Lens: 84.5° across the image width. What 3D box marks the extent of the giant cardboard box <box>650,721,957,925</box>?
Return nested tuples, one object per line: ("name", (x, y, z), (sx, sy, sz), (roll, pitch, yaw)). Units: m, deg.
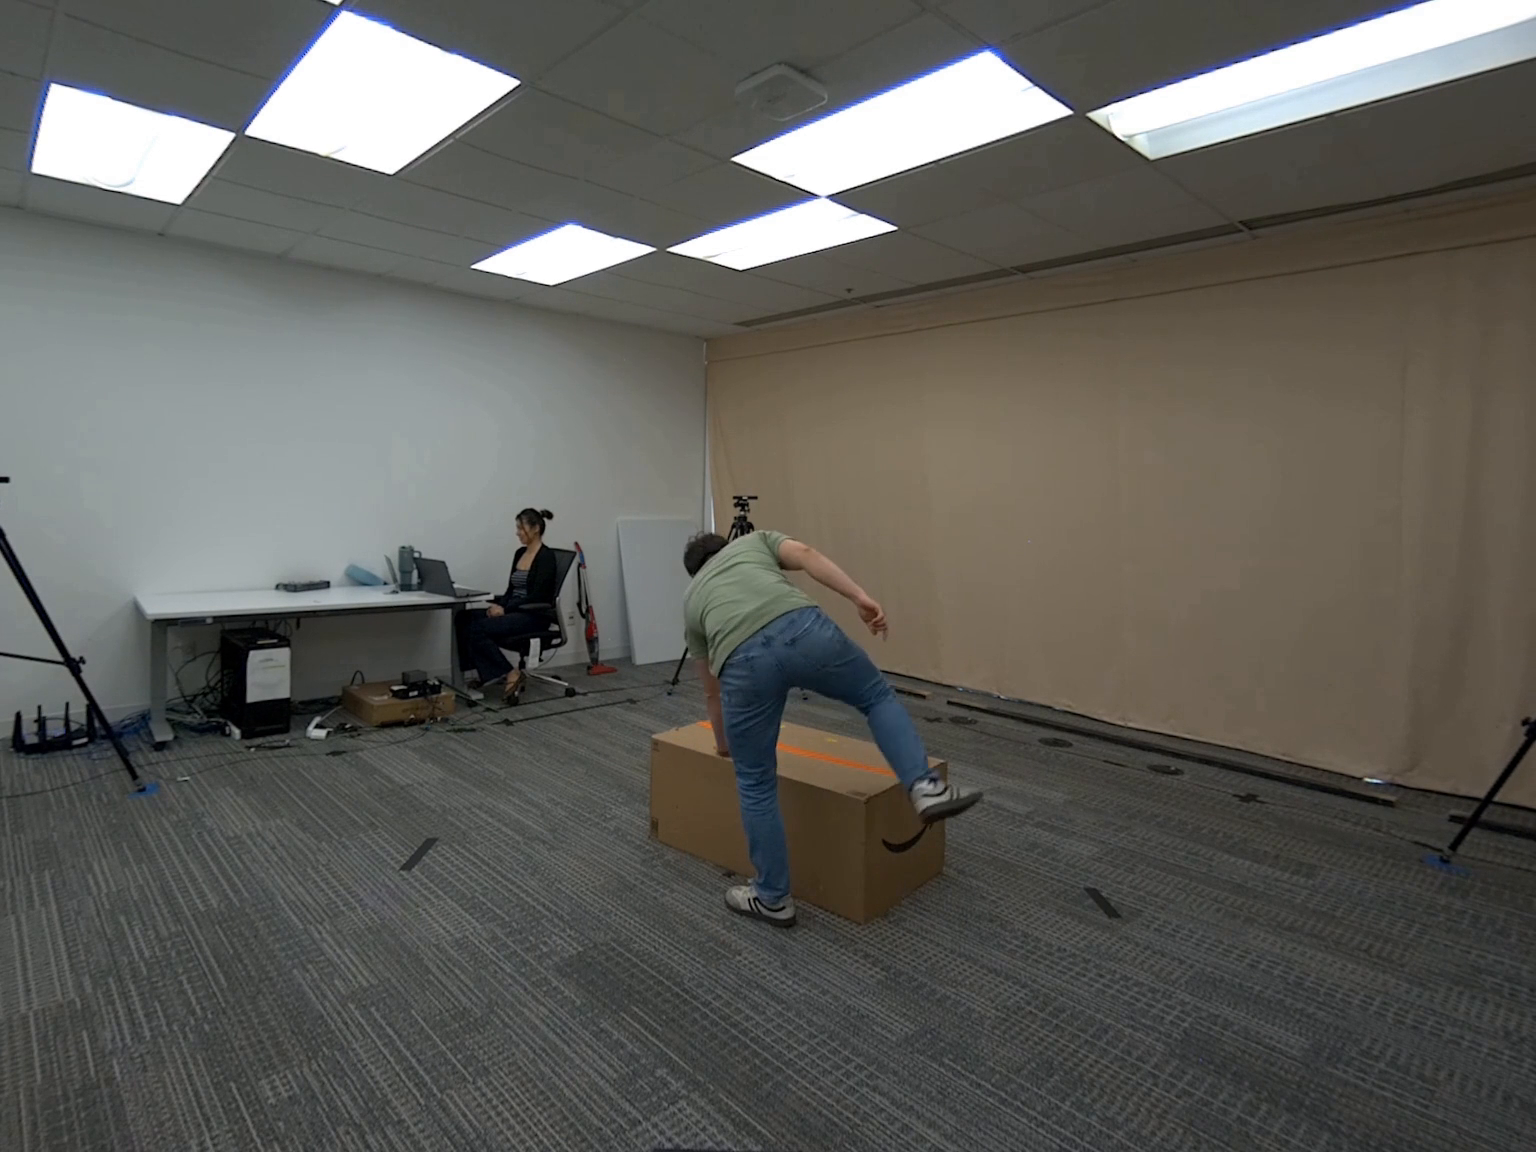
("giant cardboard box", (0.089, 0.881, 3.290), (1.052, 0.425, 0.564), (5, 6, 40))
